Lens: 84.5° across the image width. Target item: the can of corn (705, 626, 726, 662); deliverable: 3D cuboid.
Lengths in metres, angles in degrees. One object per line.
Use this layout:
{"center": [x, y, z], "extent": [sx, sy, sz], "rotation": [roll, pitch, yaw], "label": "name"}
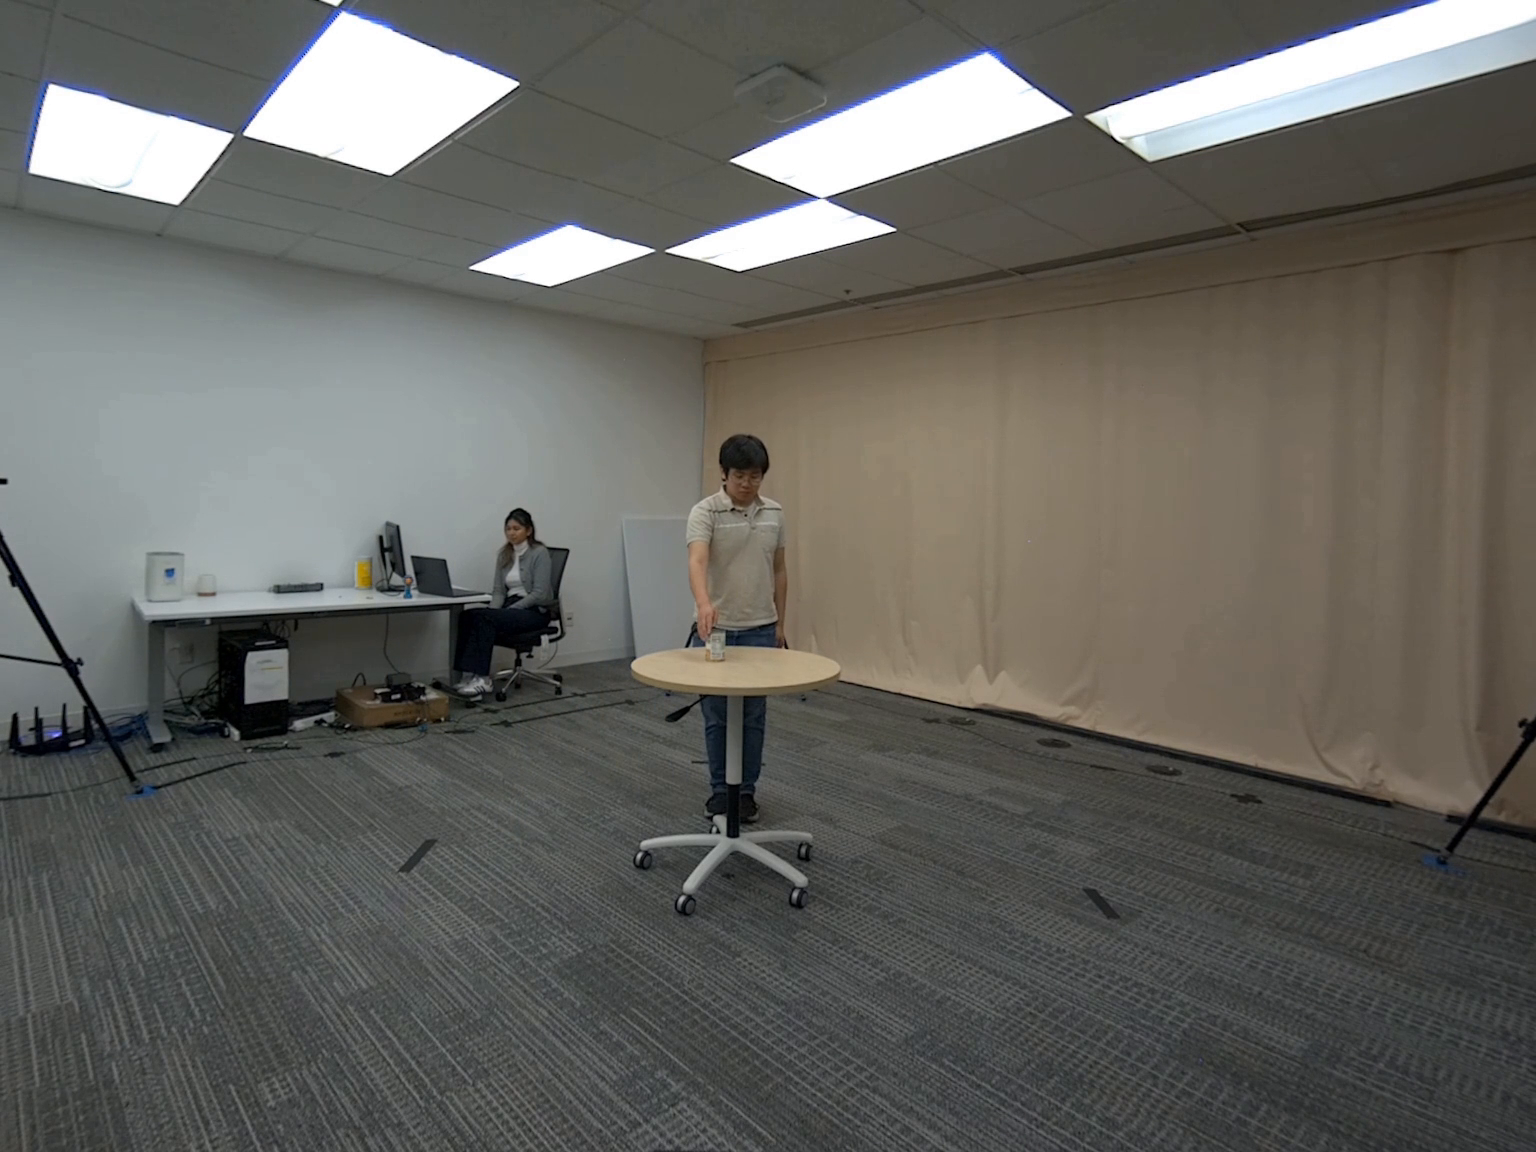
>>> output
{"center": [-0.215, 0.264, 3.166], "extent": [0.074, 0.111, 0.074], "rotation": [-1, 1, -1], "label": "can of corn"}
